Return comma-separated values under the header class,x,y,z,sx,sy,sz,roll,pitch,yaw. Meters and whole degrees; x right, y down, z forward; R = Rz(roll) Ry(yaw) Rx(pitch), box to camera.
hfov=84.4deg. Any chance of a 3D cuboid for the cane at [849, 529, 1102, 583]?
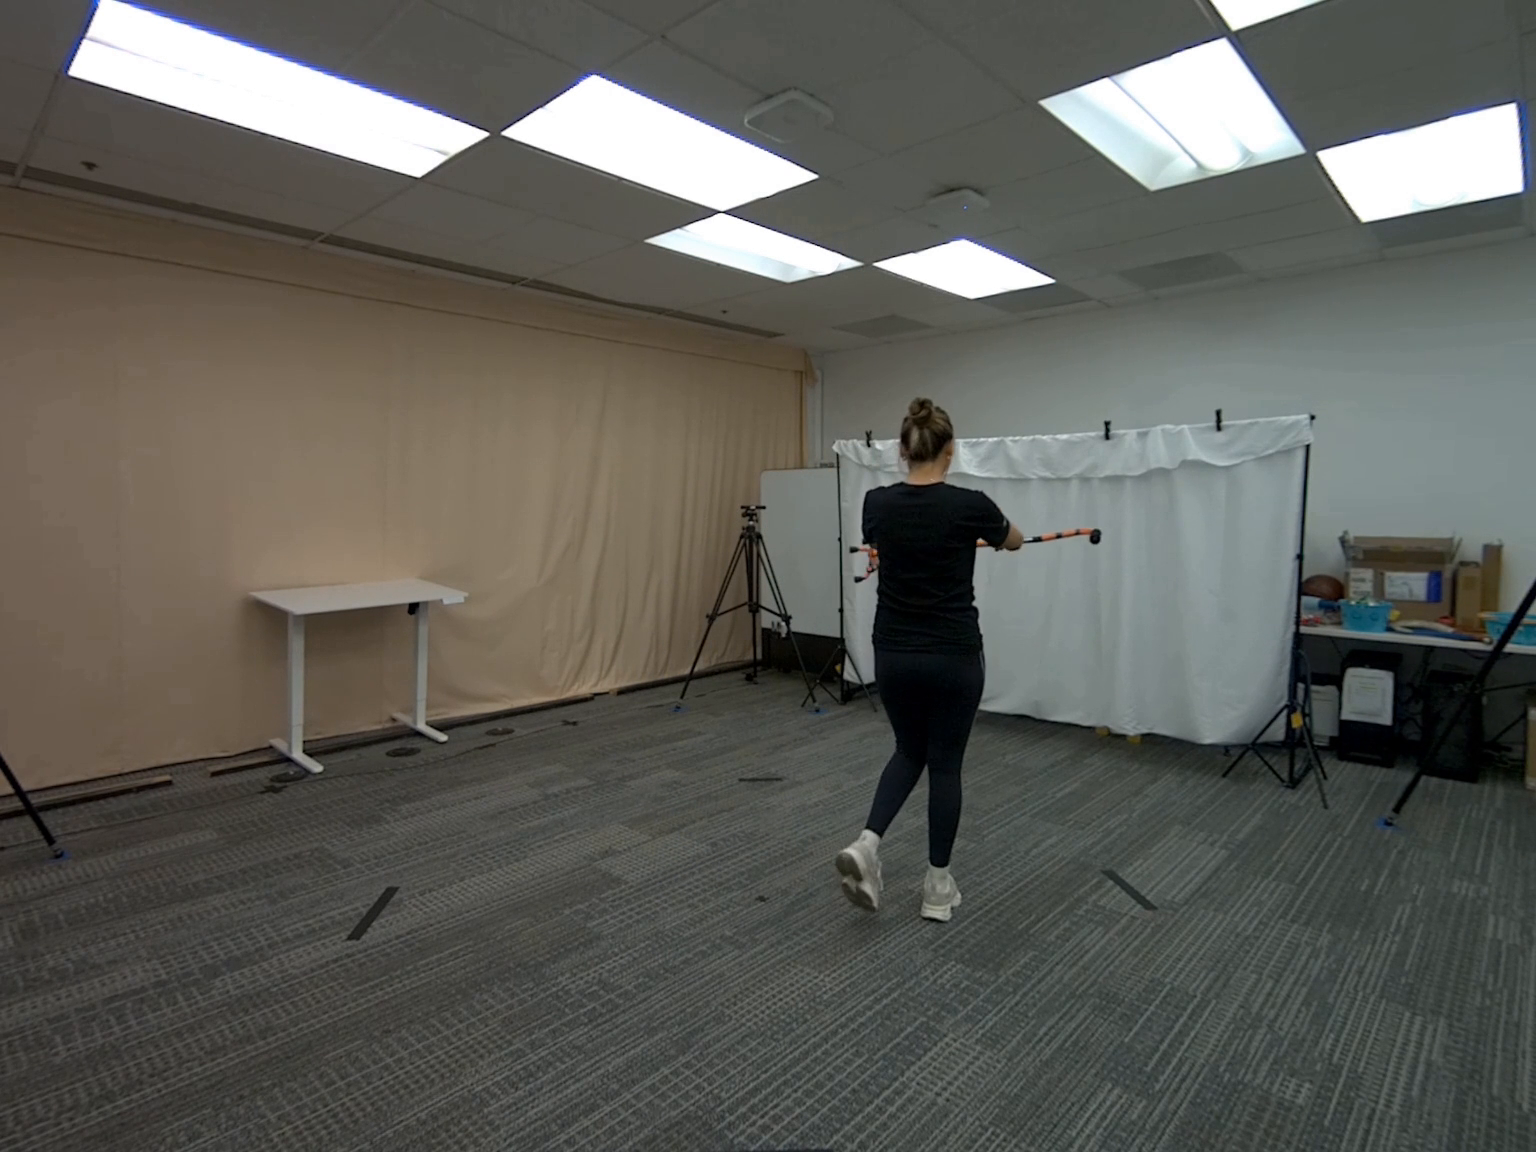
class,x,y,z,sx,sy,sz,roll,pitch,yaw
cane,0.796,-0.100,3.231,0.930,0.150,0.203,-6,11,26
